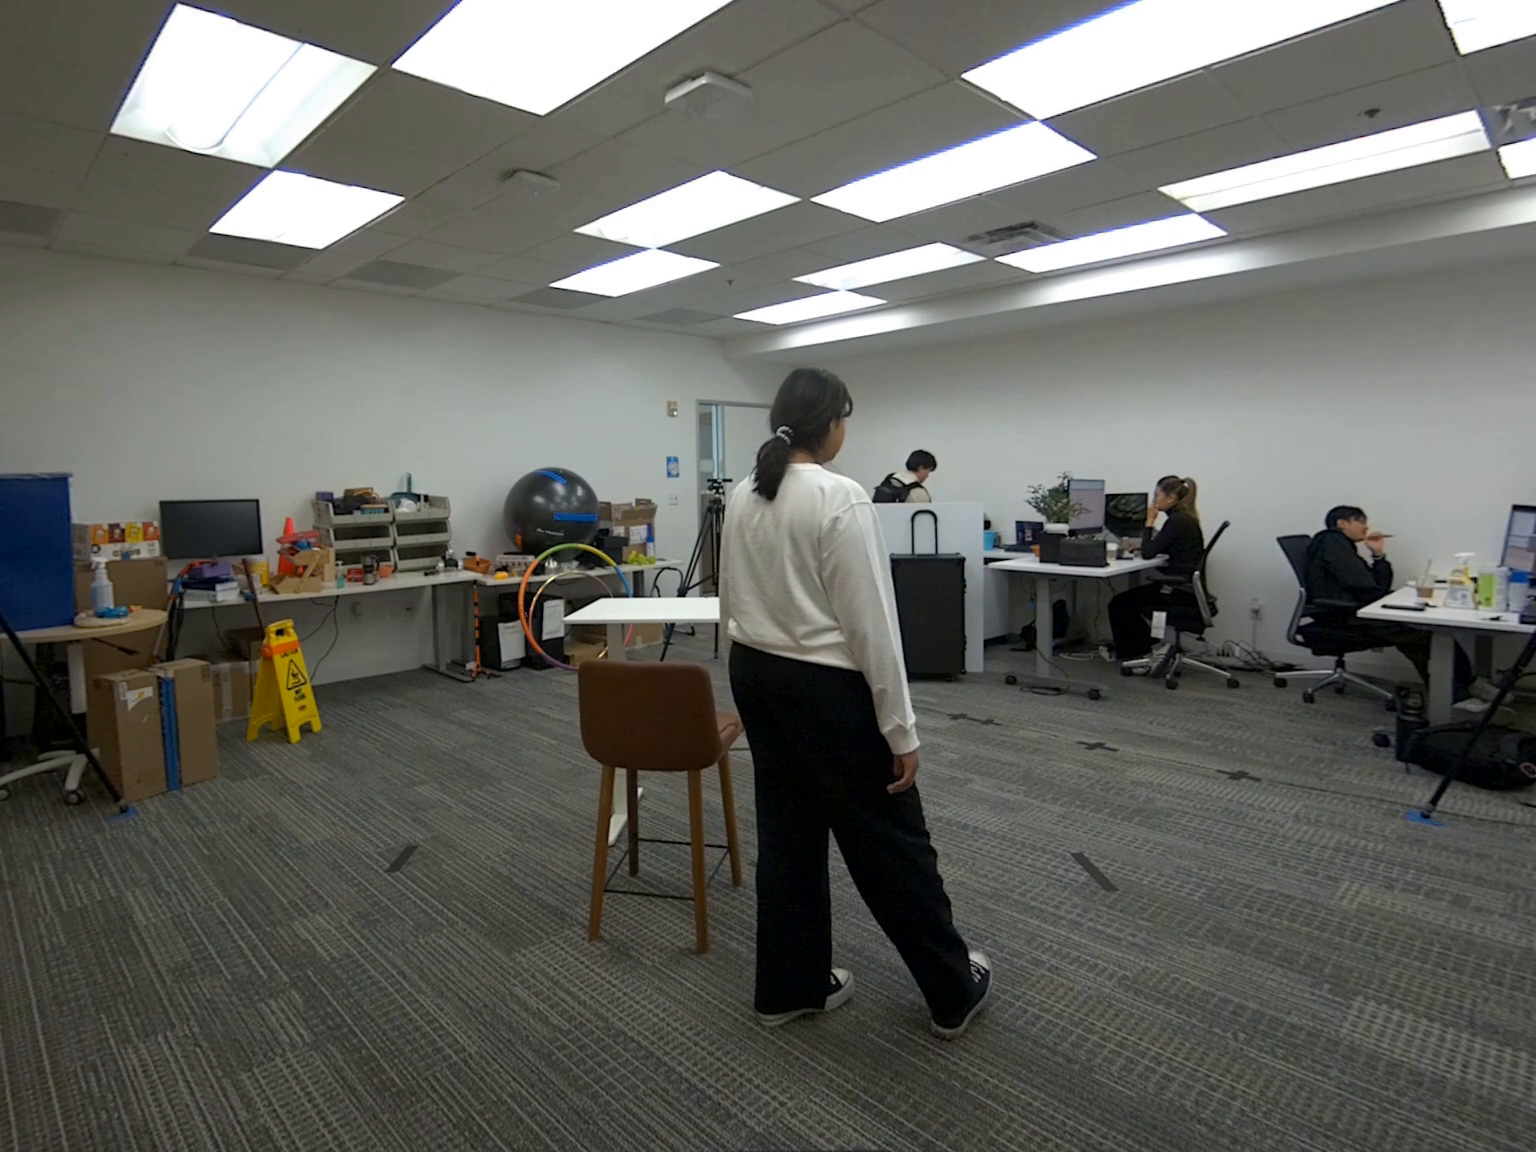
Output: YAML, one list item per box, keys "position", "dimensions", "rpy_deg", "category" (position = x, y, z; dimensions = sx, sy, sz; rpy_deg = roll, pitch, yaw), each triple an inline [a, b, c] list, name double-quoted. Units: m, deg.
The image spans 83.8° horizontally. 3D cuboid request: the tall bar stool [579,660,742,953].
- position: [-0.332, 0.657, 2.753]
  dimensions: [0.463, 0.885, 0.464]
  rpy_deg: [0, 6, 13]
  category: "tall bar stool"
